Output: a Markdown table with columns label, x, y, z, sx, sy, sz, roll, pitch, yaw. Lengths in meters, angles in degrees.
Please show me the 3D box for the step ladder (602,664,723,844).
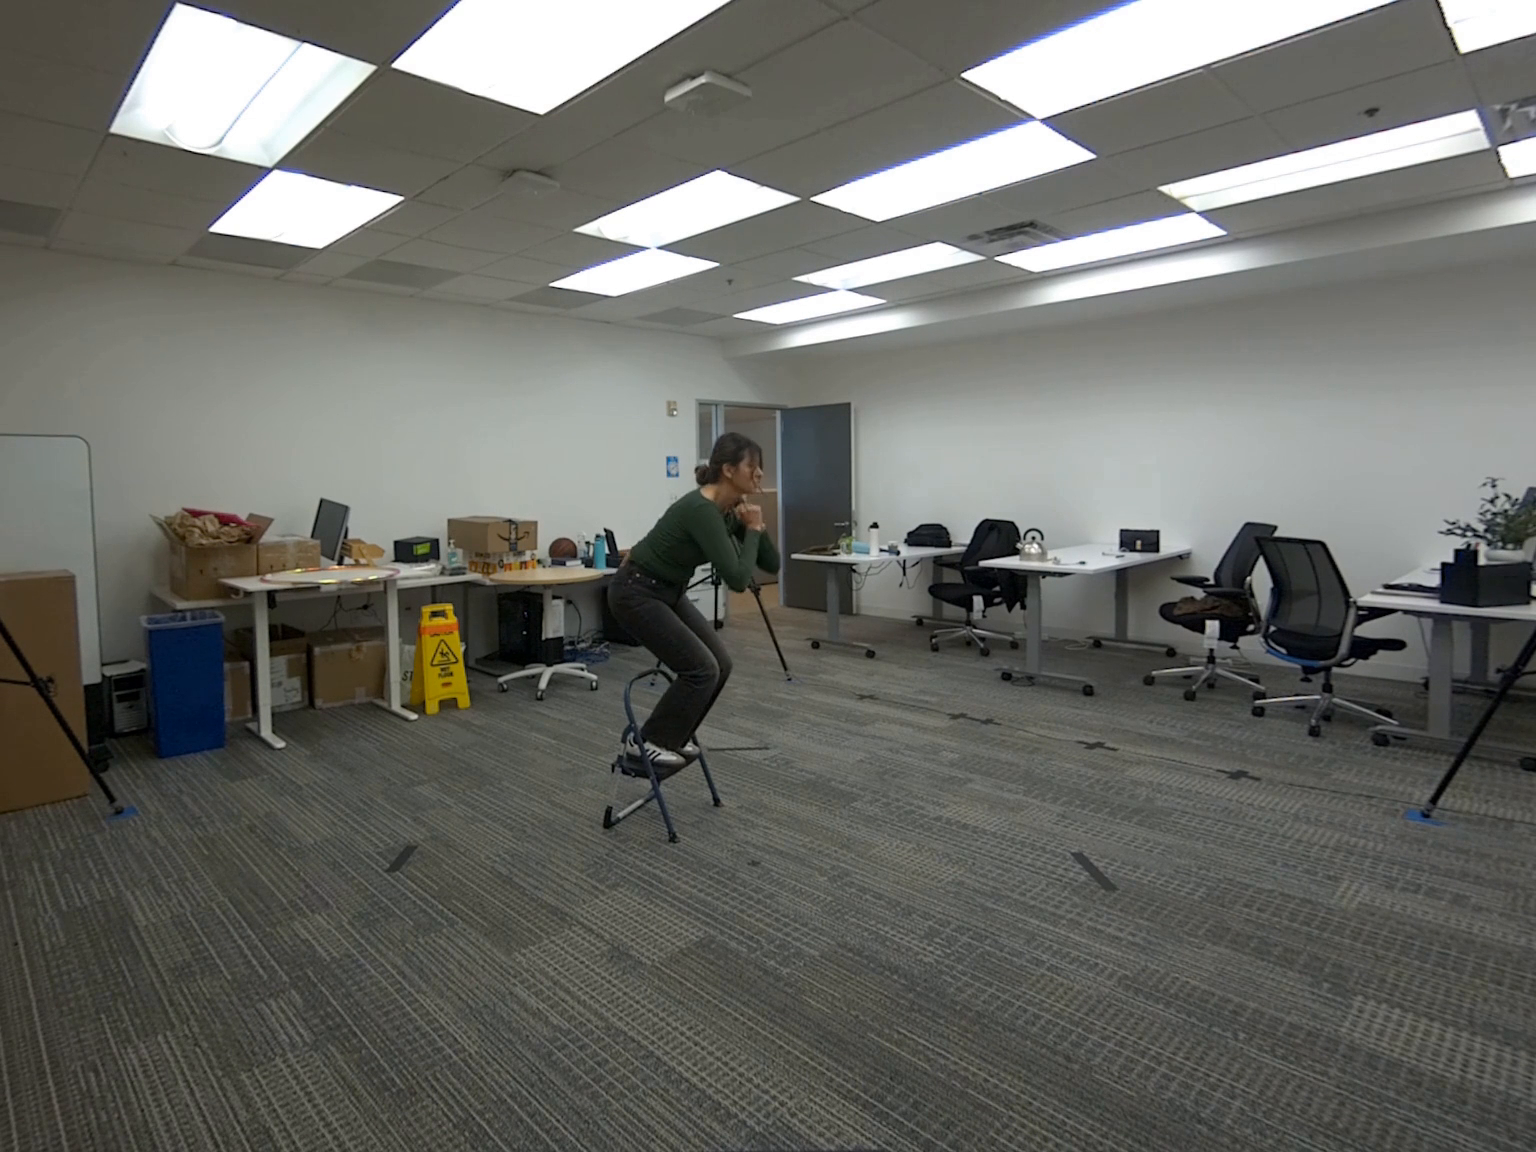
| label | x | y | z | sx | sy | sz | roll | pitch | yaw |
| --- | --- | --- | --- | --- | --- | --- | --- | --- | --- |
| step ladder | -0.439 | 0.701 | 3.539 | 0.357 | 0.604 | 0.423 | 0 | 4 | 23 |
